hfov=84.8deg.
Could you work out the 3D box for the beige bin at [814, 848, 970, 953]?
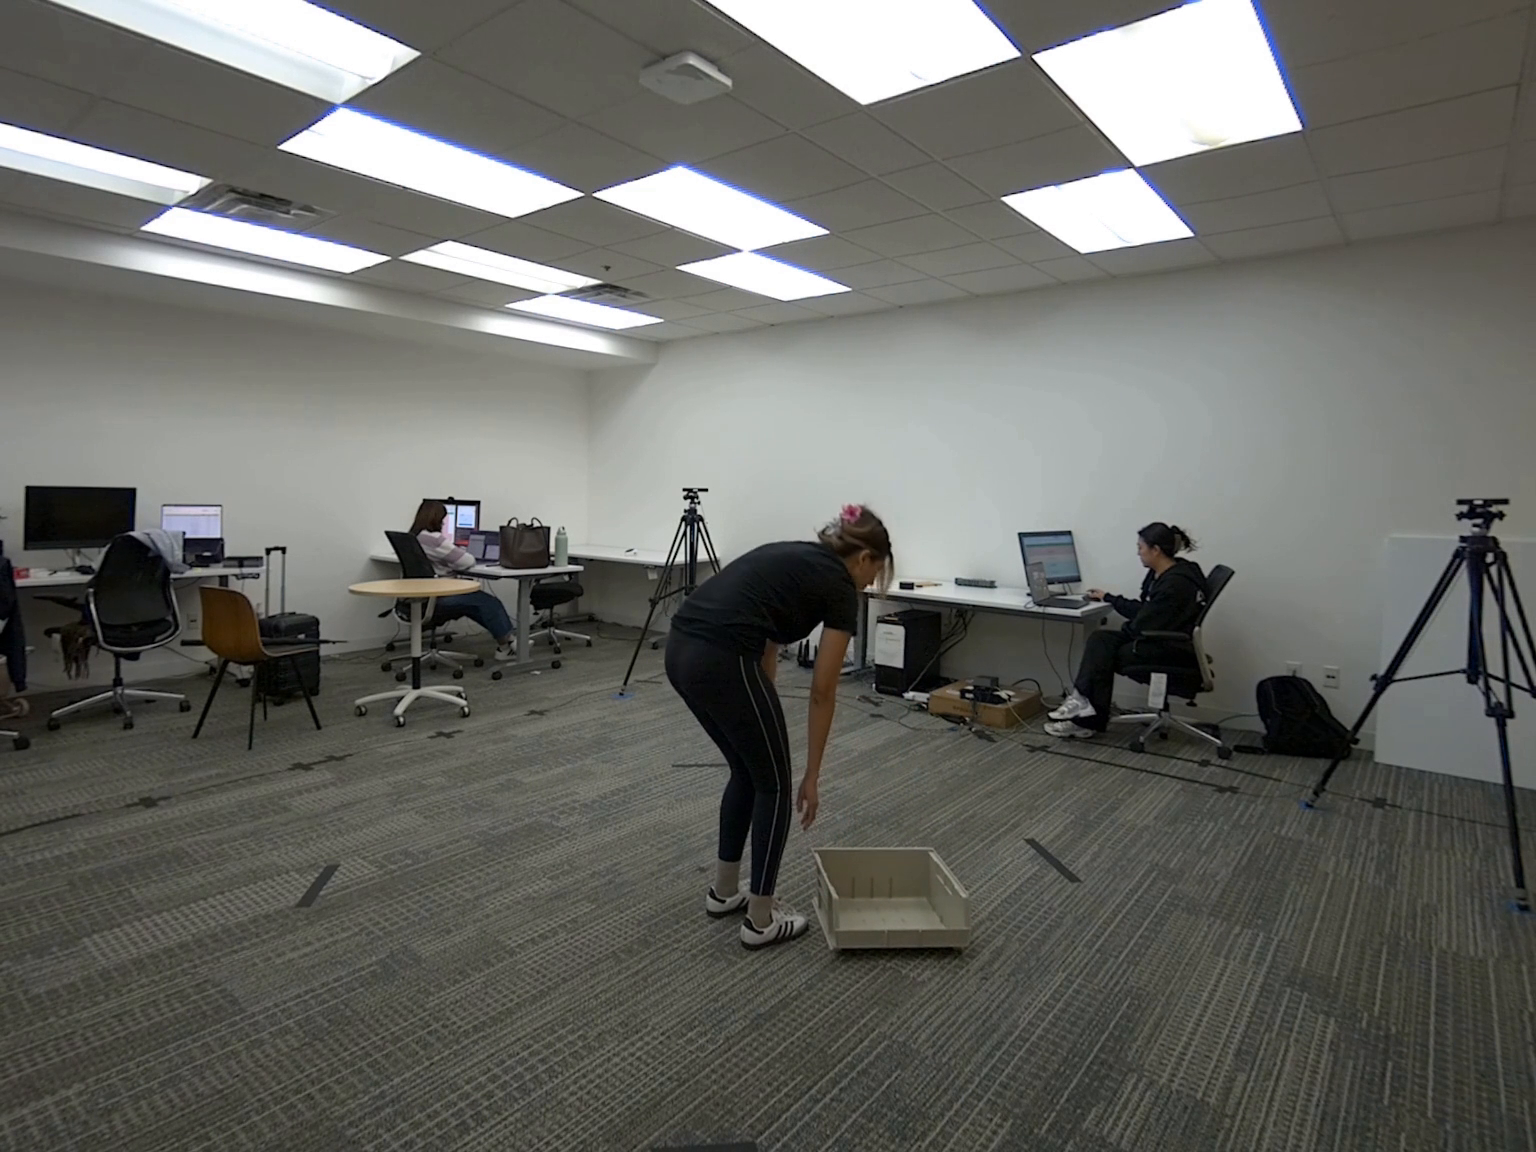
[{"bbox_3d":[0.369,1.030,2.713,0.420,0.188,0.381,0,4,-6],"label":"beige bin"}]
